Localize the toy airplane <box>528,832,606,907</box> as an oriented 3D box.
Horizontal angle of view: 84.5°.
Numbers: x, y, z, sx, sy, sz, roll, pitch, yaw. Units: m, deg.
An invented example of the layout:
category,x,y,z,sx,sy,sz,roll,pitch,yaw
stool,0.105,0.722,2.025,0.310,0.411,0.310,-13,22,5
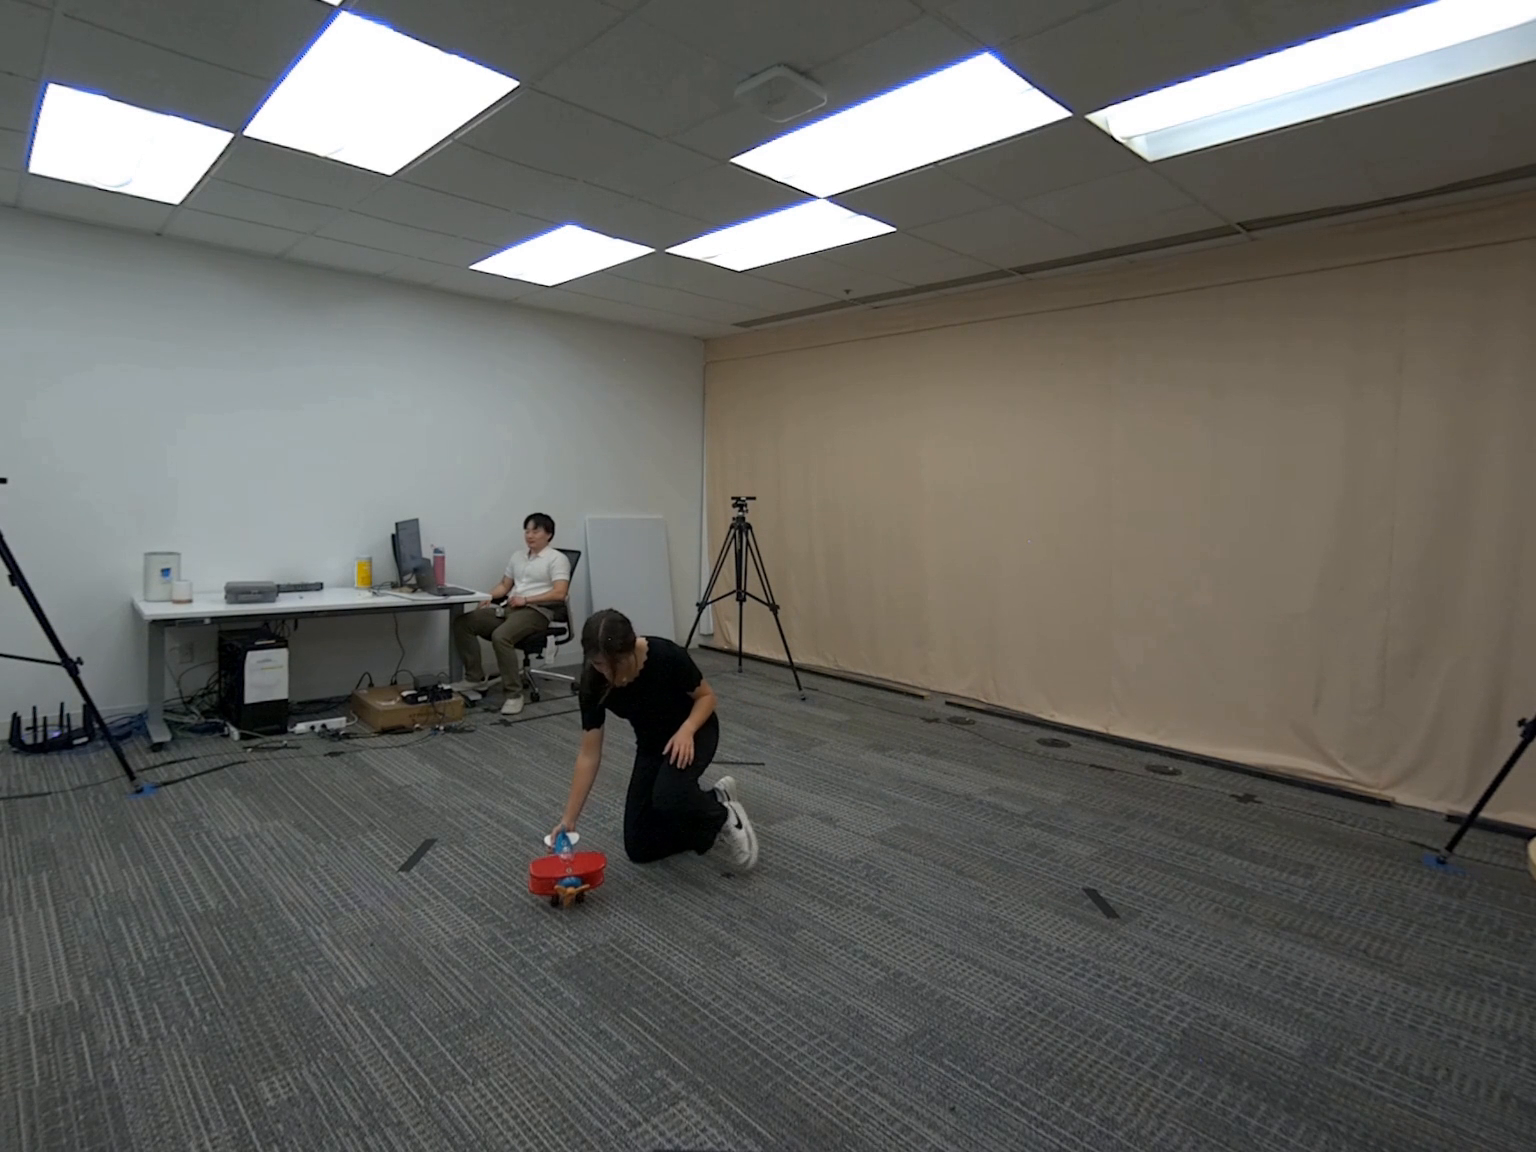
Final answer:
category,x,y,z,sx,sy,sz,roll,pitch,yaw
toy airplane,-0.724,1.000,2.882,0.248,0.154,0.266,-25,57,-39
